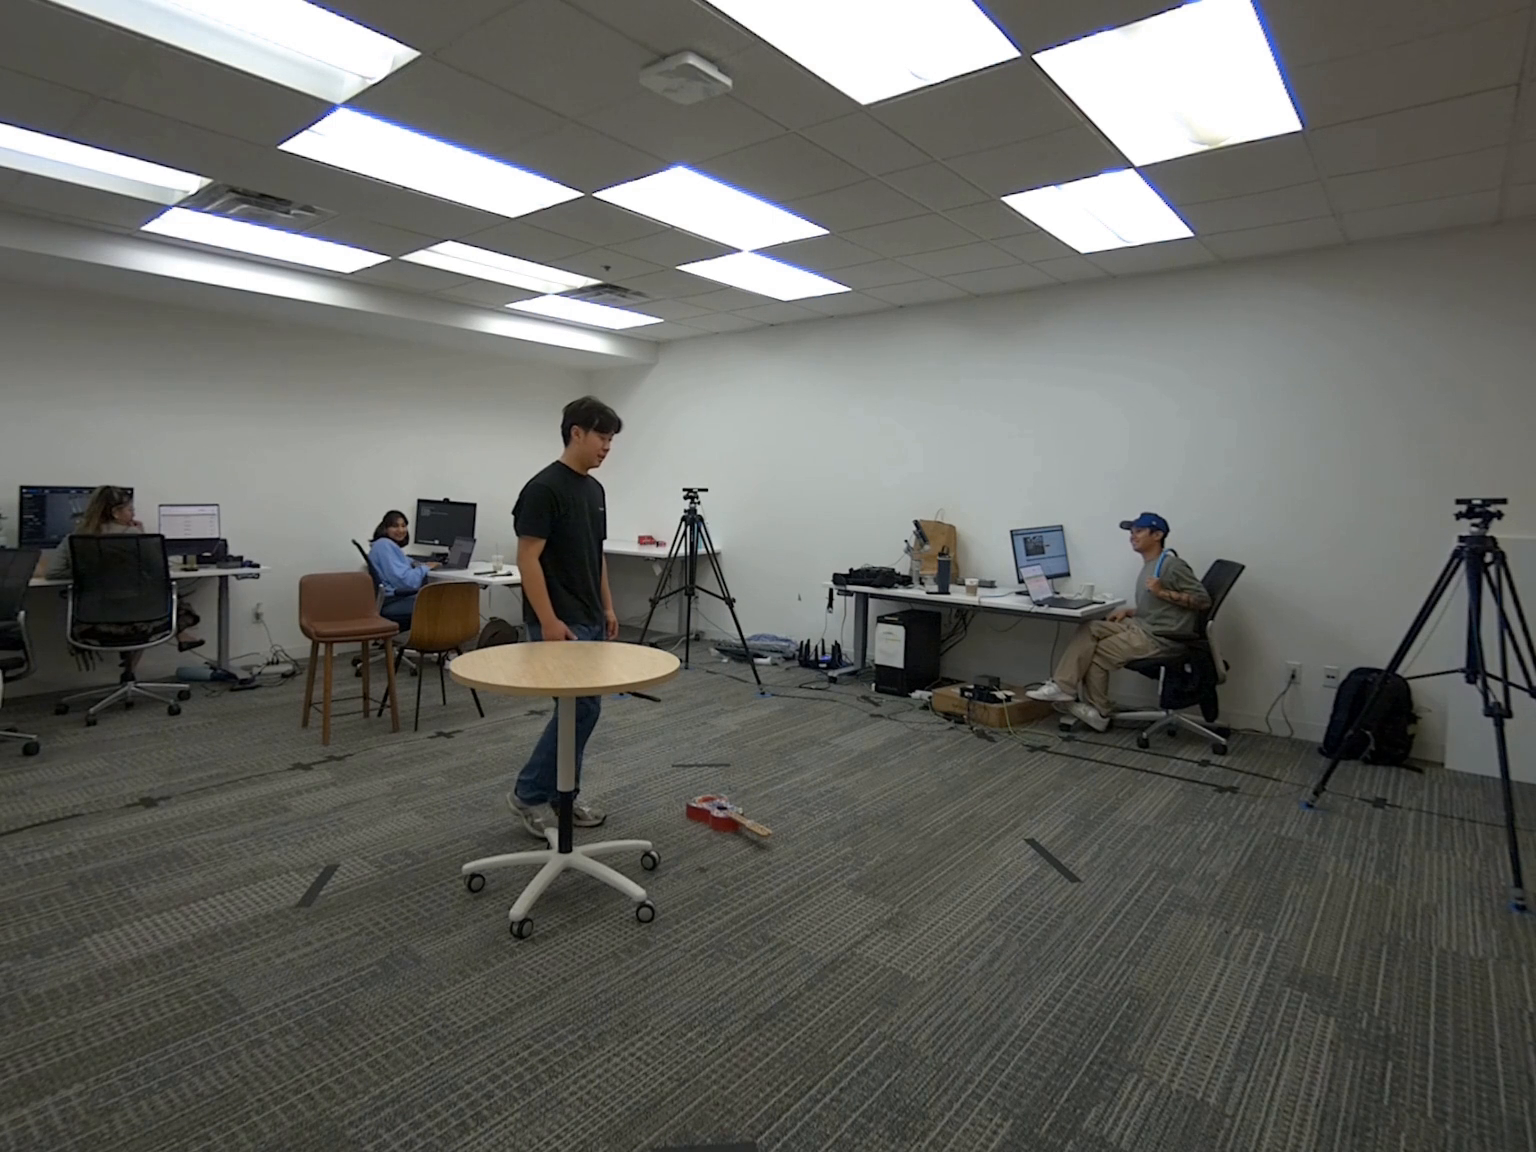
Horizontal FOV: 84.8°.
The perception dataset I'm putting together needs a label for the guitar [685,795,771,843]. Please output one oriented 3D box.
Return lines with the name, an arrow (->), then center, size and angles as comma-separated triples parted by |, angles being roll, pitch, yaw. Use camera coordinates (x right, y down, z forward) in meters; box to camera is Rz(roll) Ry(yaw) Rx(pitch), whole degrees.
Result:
guitar -> -0.180, 1.002, 3.481 | 0.188, 0.070, 0.512 | 0, 5, -27
